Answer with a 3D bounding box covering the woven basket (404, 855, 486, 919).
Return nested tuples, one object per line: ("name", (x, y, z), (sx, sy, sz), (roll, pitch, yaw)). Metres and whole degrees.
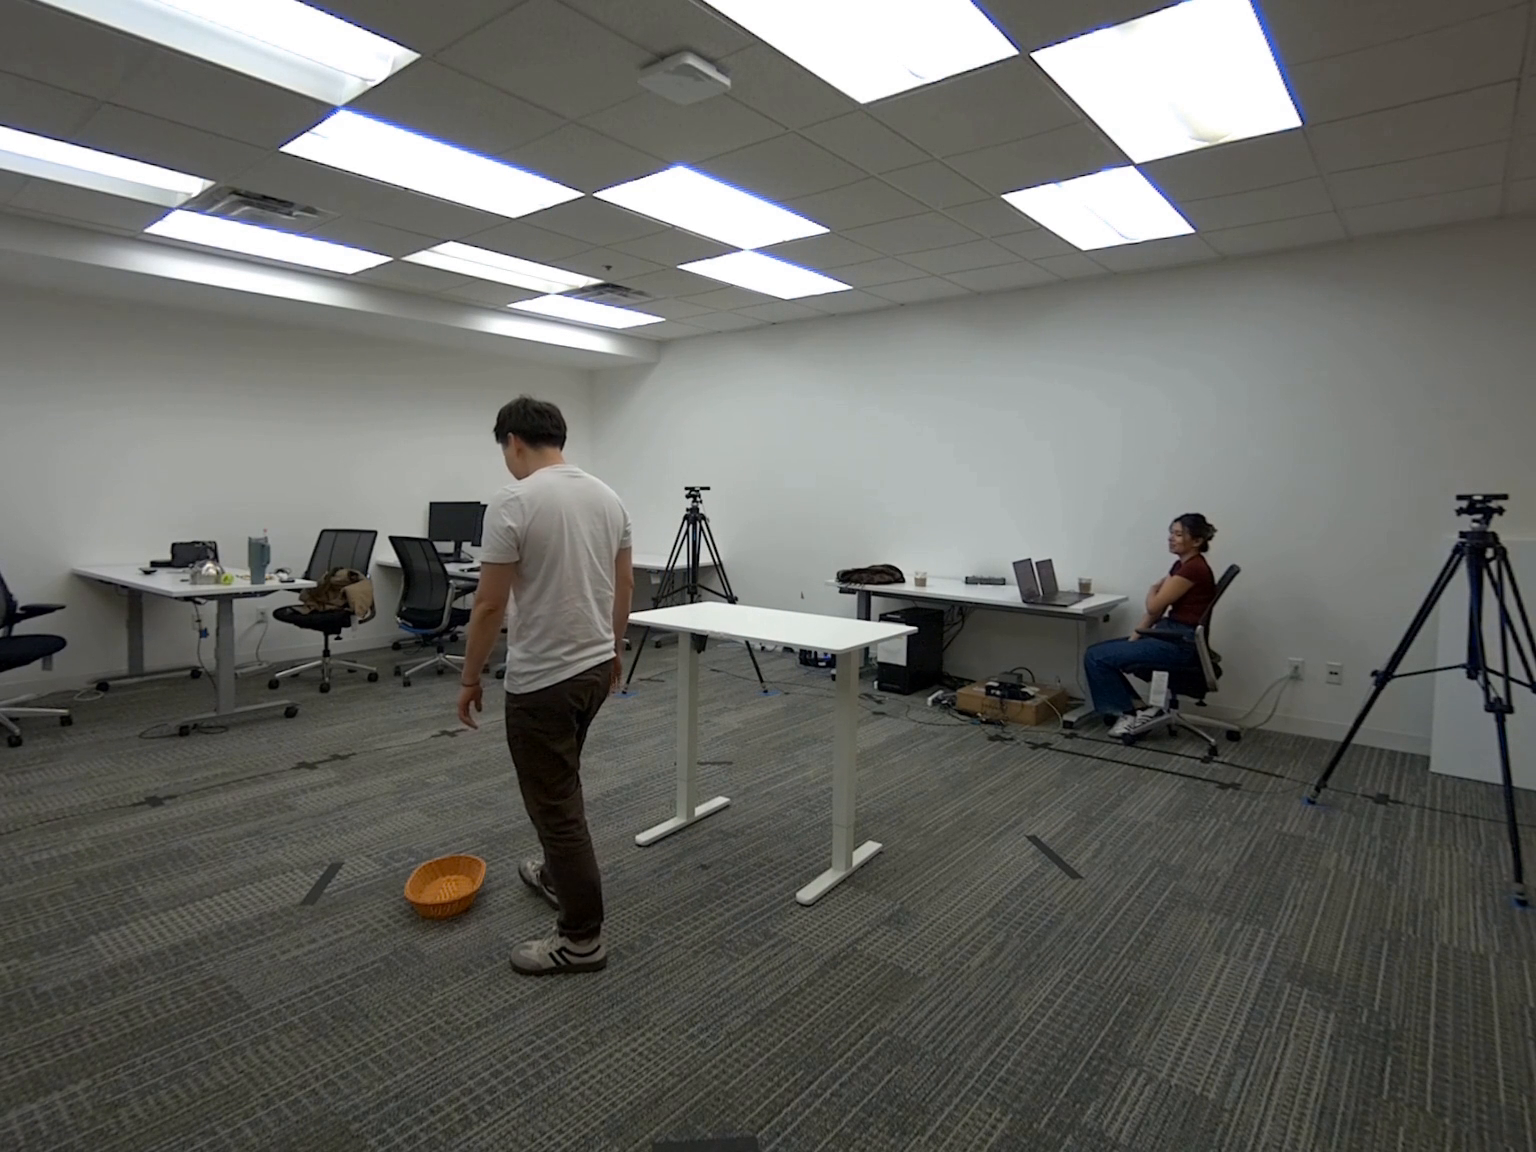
("woven basket", (-1.096, 1.044, 2.859), (0.251, 0.073, 0.354), (-1, 6, -6))
